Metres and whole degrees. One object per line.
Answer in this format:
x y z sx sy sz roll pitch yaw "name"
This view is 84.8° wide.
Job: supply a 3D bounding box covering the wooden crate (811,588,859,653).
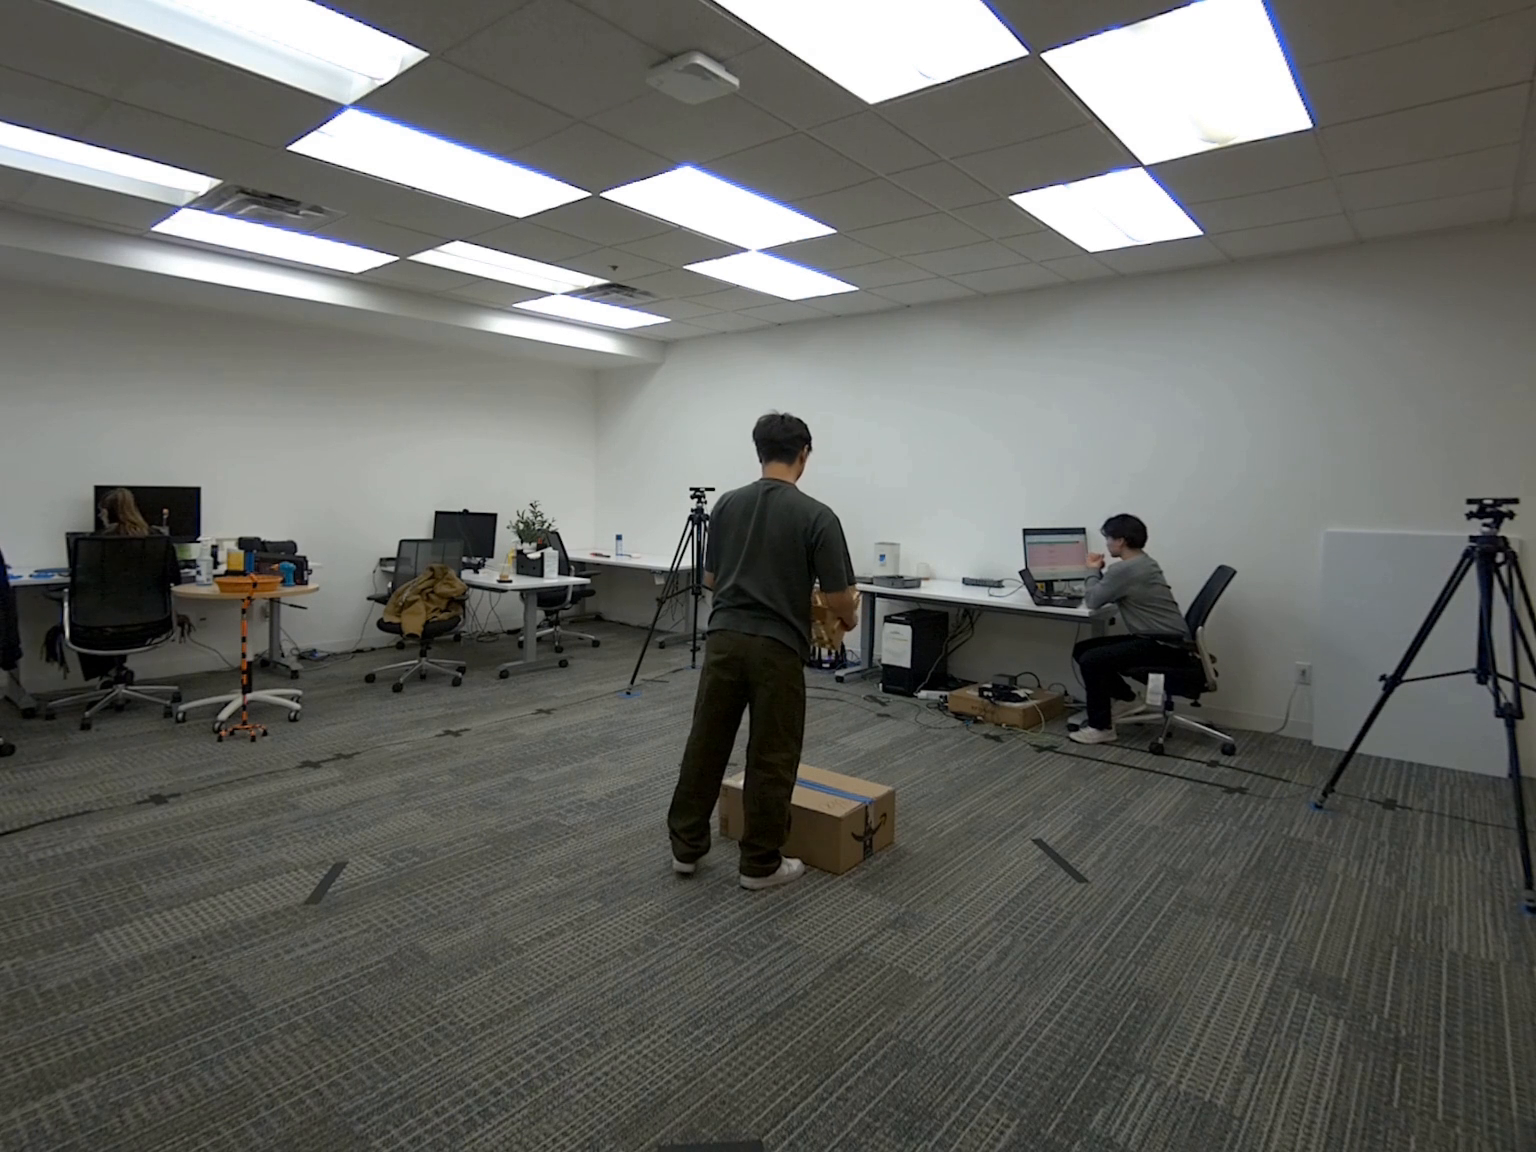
0.132 0.089 3.222 0.333 0.276 0.290 9 -33 24 "wooden crate"
